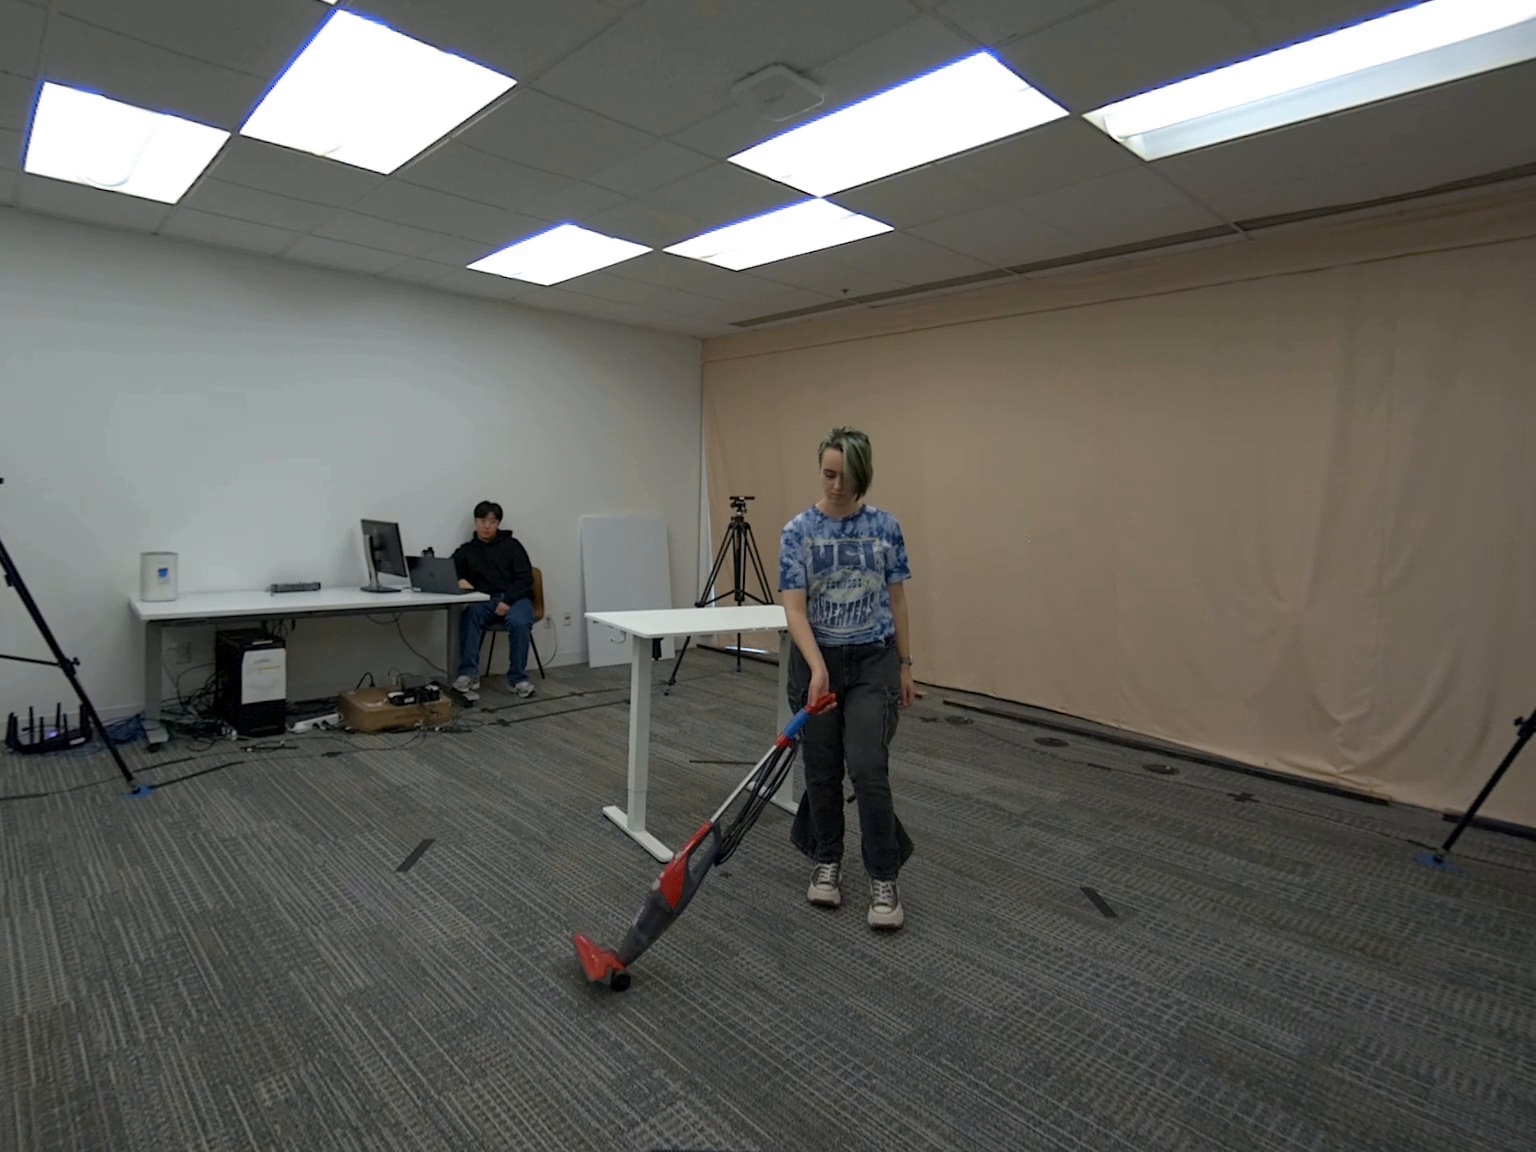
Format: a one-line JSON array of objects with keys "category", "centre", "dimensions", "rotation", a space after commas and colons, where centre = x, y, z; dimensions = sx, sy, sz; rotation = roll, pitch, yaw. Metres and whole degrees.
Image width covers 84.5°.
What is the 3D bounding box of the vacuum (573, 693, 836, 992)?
[{"category": "vacuum", "centre": [-0.146, 0.771, 2.513], "dimensions": [1.049, 0.141, 0.258], "rotation": [-46, 25, -14]}]
